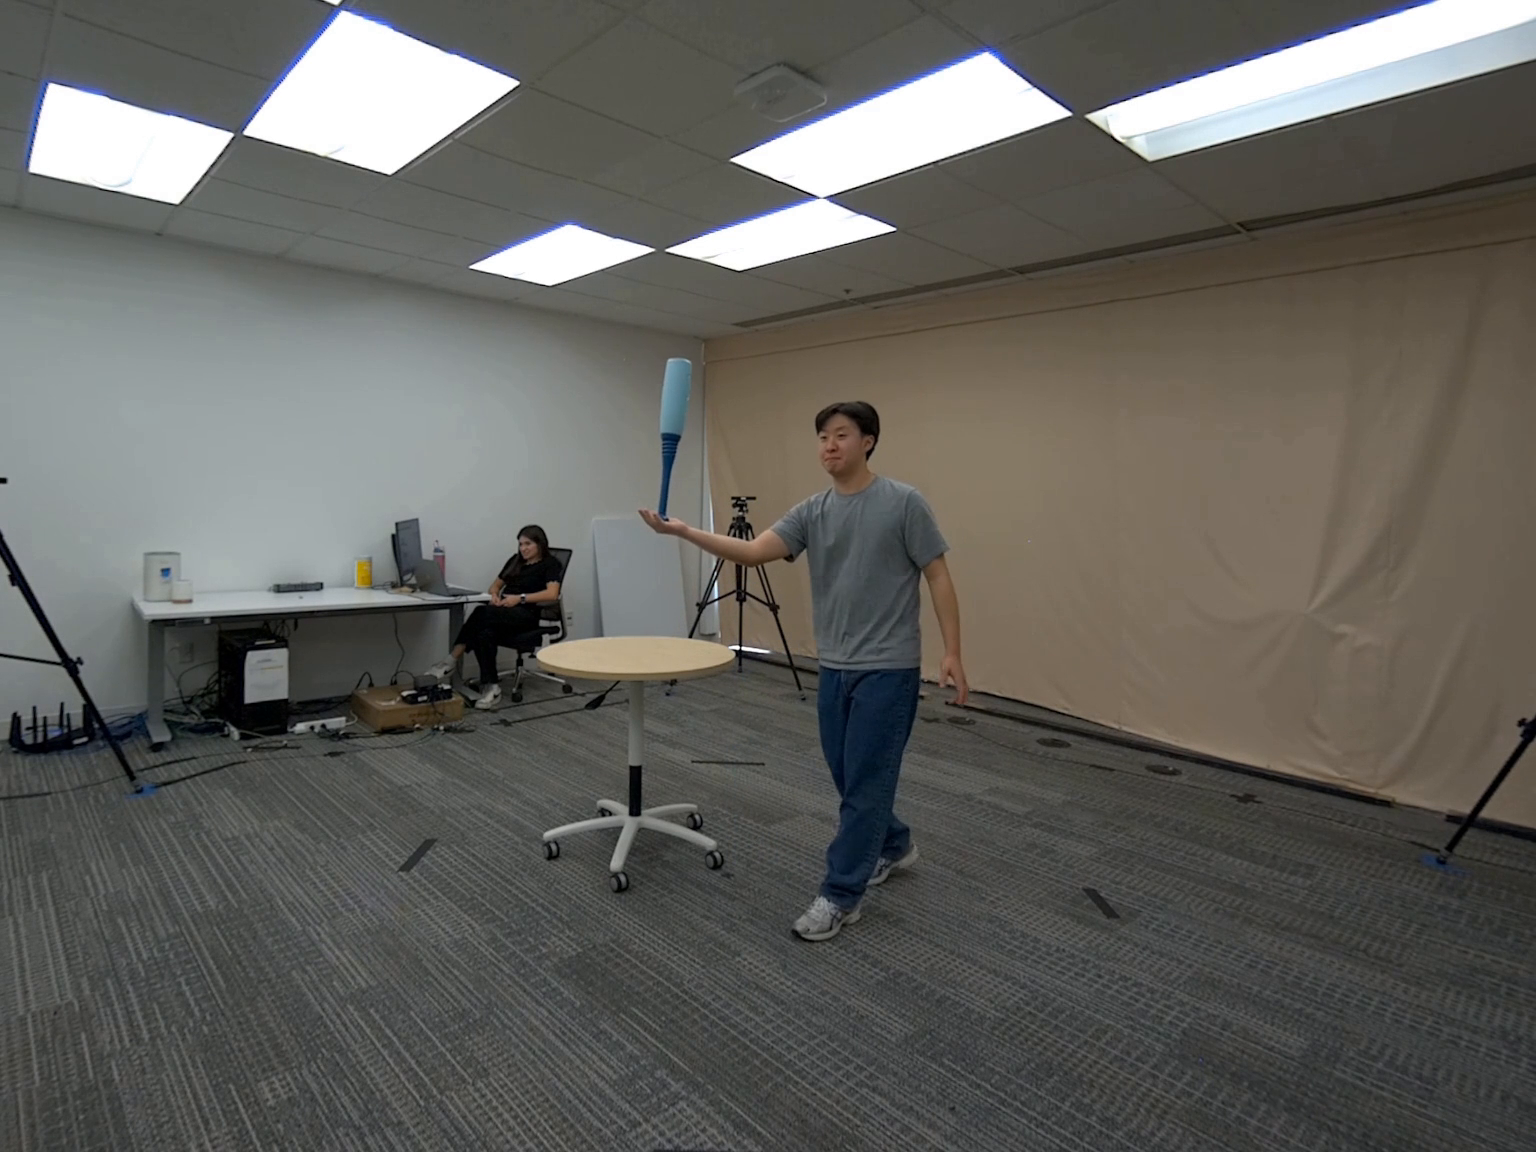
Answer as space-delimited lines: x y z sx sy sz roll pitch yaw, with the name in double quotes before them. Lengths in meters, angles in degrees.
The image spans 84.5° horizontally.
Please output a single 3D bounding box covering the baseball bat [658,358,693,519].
"baseball bat" -0.323 -0.439 2.745 0.089 0.544 0.089 7 -2 -1
